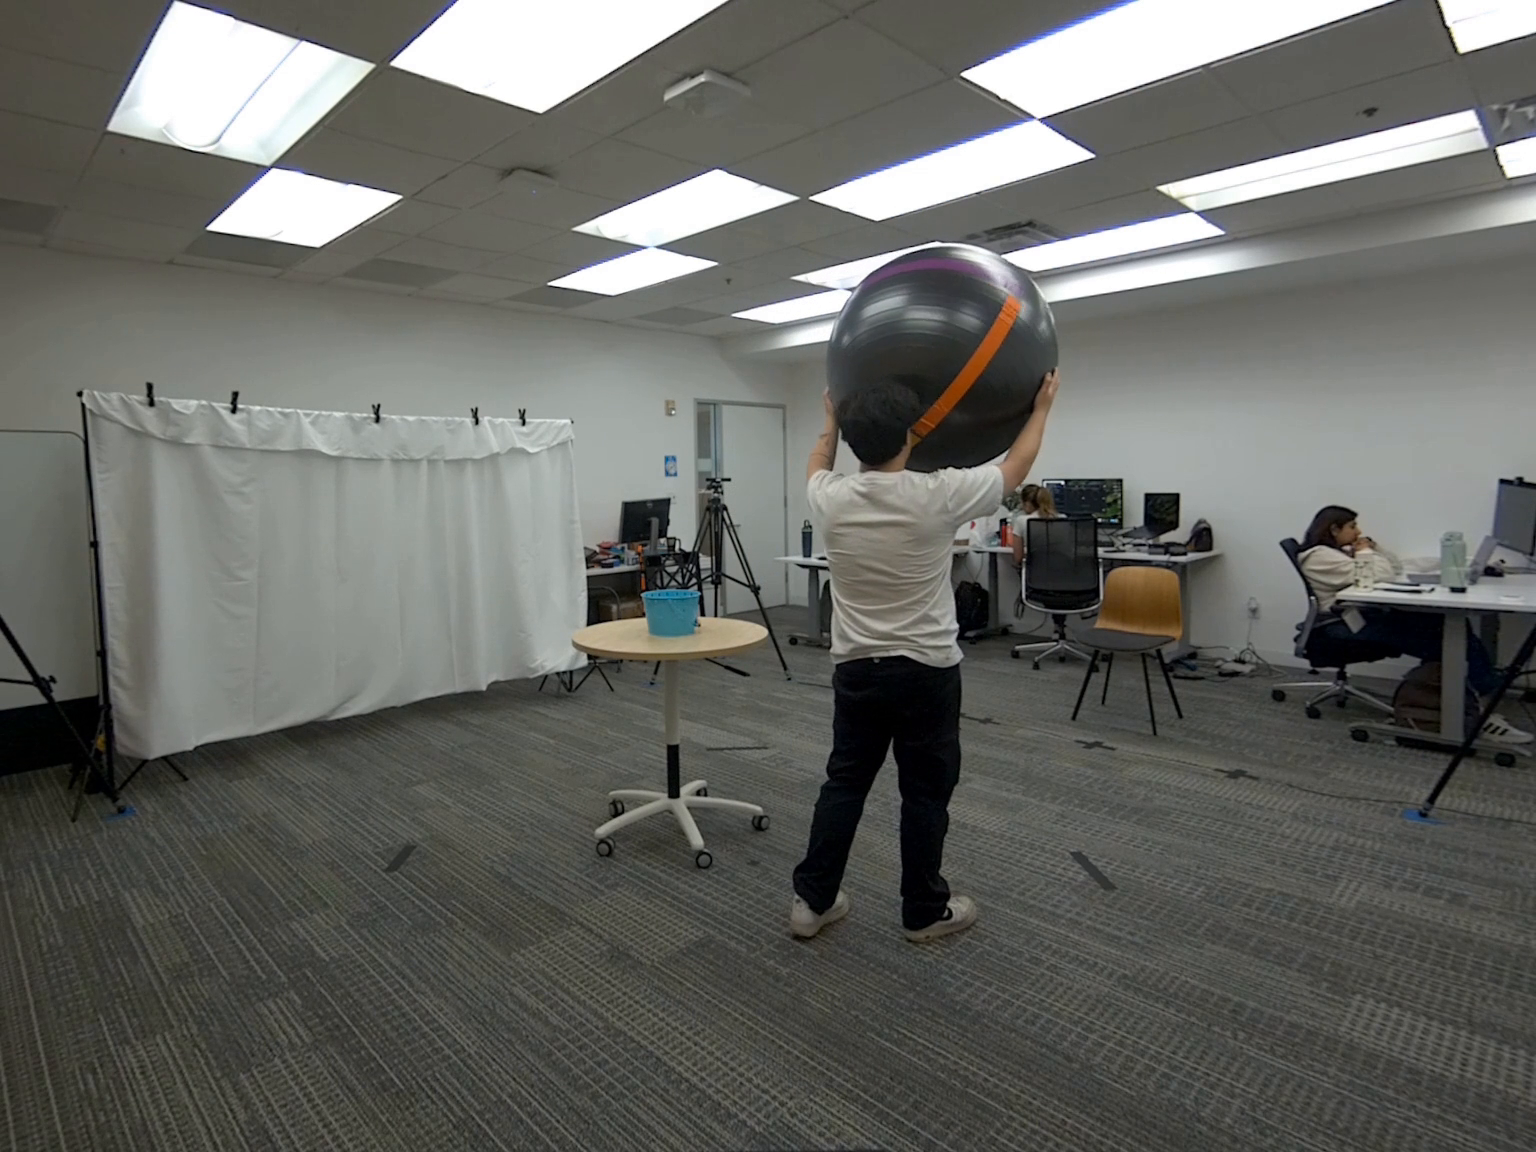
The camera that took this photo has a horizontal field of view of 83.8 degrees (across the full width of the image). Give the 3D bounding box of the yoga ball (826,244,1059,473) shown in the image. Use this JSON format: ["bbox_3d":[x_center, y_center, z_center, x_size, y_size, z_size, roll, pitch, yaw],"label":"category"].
[{"bbox_3d":[0.578,-0.720,2.892,0.757,0.755,0.762,-1,5,-2],"label":"yoga ball"}]
